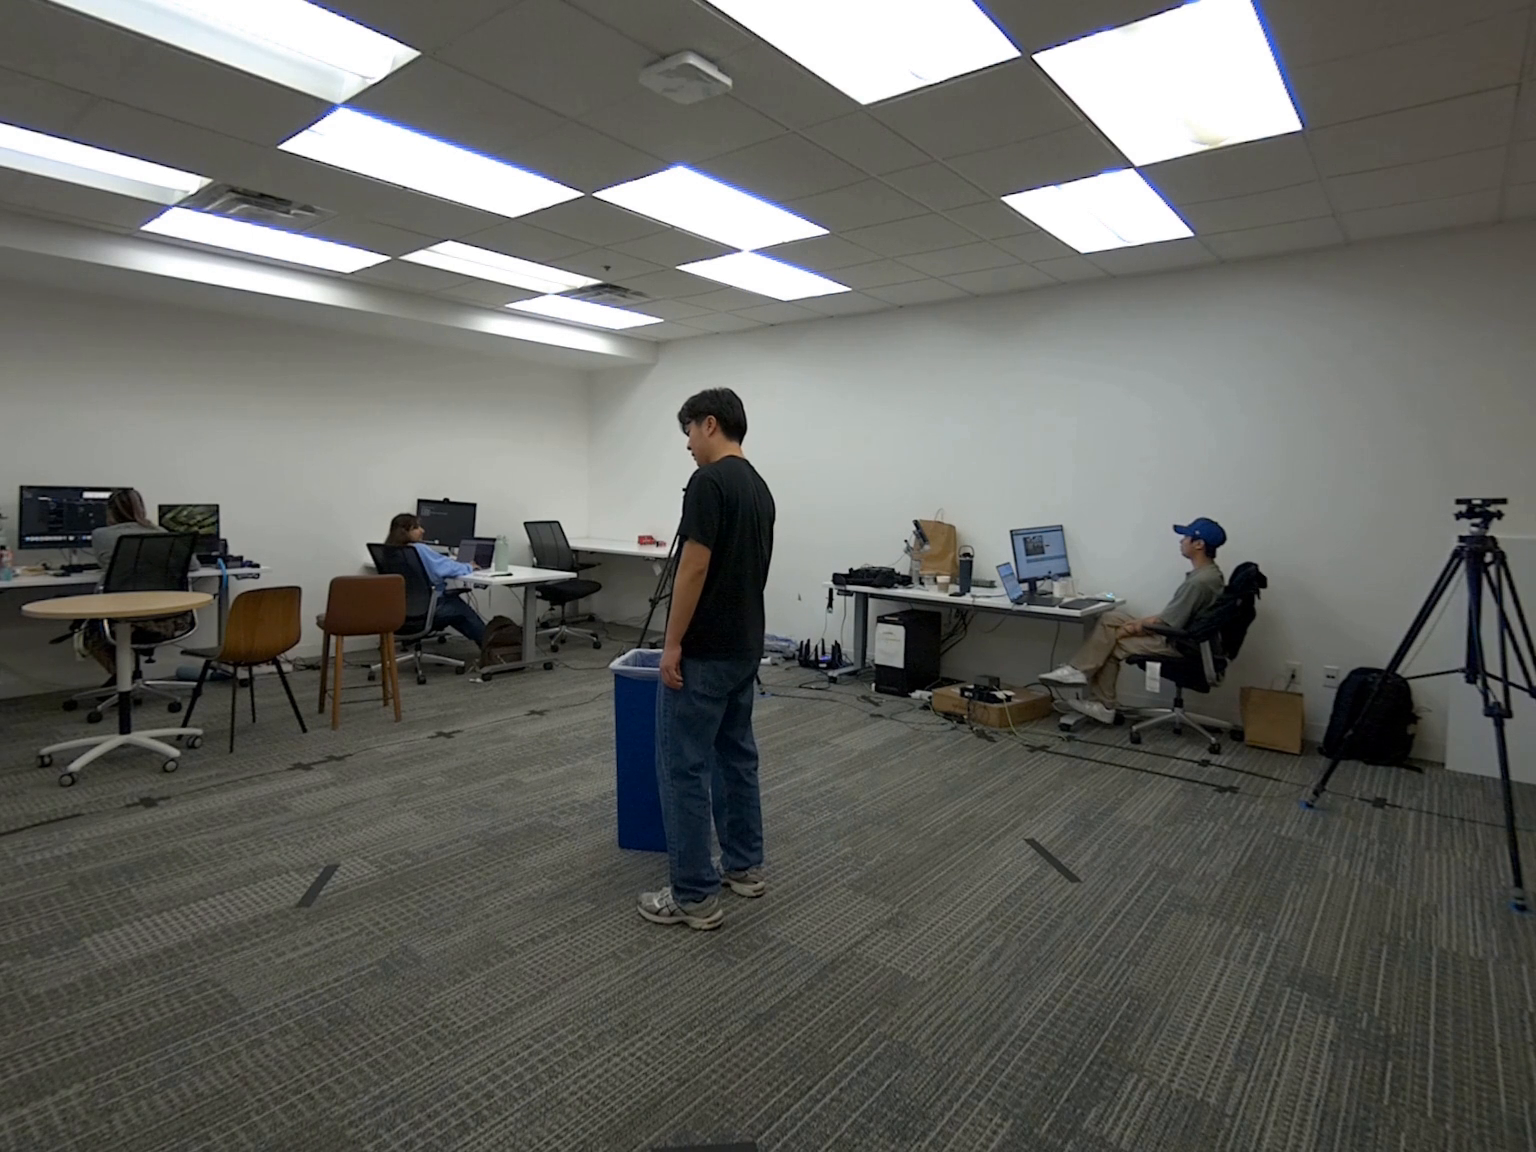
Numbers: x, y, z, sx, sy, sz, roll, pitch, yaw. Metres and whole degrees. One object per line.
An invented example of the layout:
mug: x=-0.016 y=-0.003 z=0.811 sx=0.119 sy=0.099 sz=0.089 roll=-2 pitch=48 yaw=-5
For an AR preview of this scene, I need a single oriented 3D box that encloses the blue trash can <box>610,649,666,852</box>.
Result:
blue trash can: x=-0.426 y=0.680 z=3.391 sx=0.382 sy=0.710 sz=0.372 roll=2 pitch=5 yaw=8
